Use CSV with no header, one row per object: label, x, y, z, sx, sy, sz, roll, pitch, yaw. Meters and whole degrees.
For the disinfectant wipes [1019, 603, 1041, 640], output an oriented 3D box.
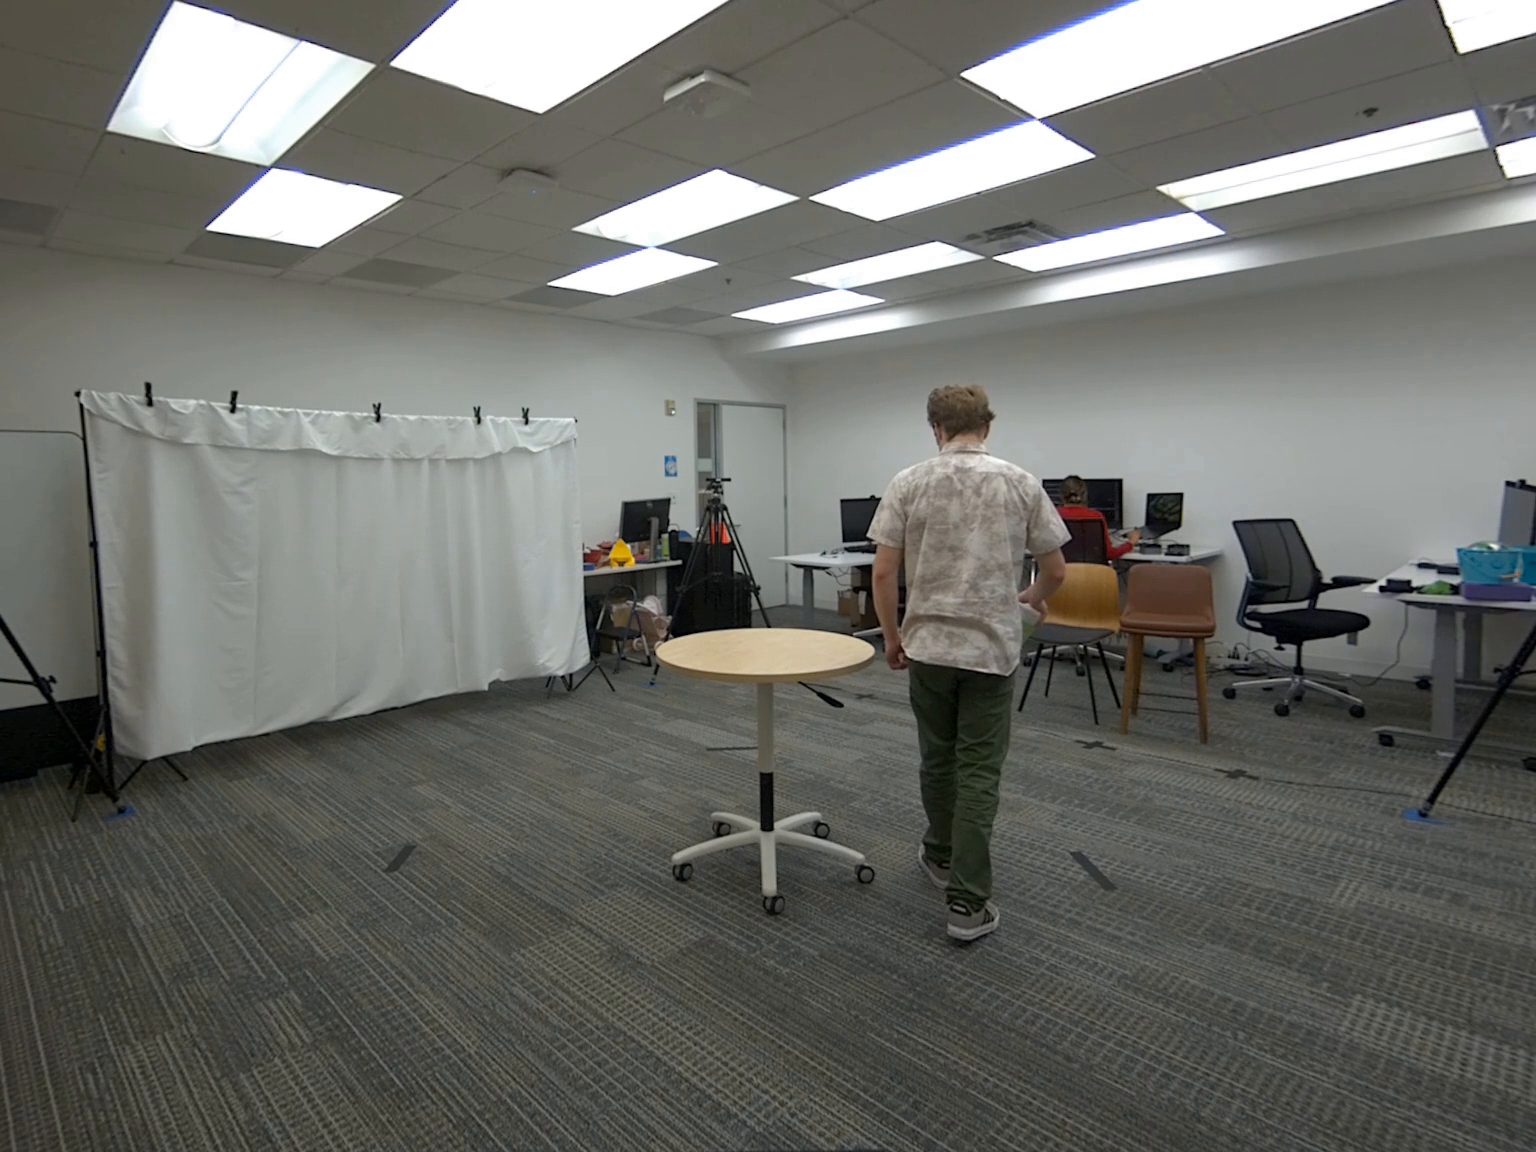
disinfectant wipes,0.897,0.201,3.073,0.116,0.215,0.120,19,26,-12
